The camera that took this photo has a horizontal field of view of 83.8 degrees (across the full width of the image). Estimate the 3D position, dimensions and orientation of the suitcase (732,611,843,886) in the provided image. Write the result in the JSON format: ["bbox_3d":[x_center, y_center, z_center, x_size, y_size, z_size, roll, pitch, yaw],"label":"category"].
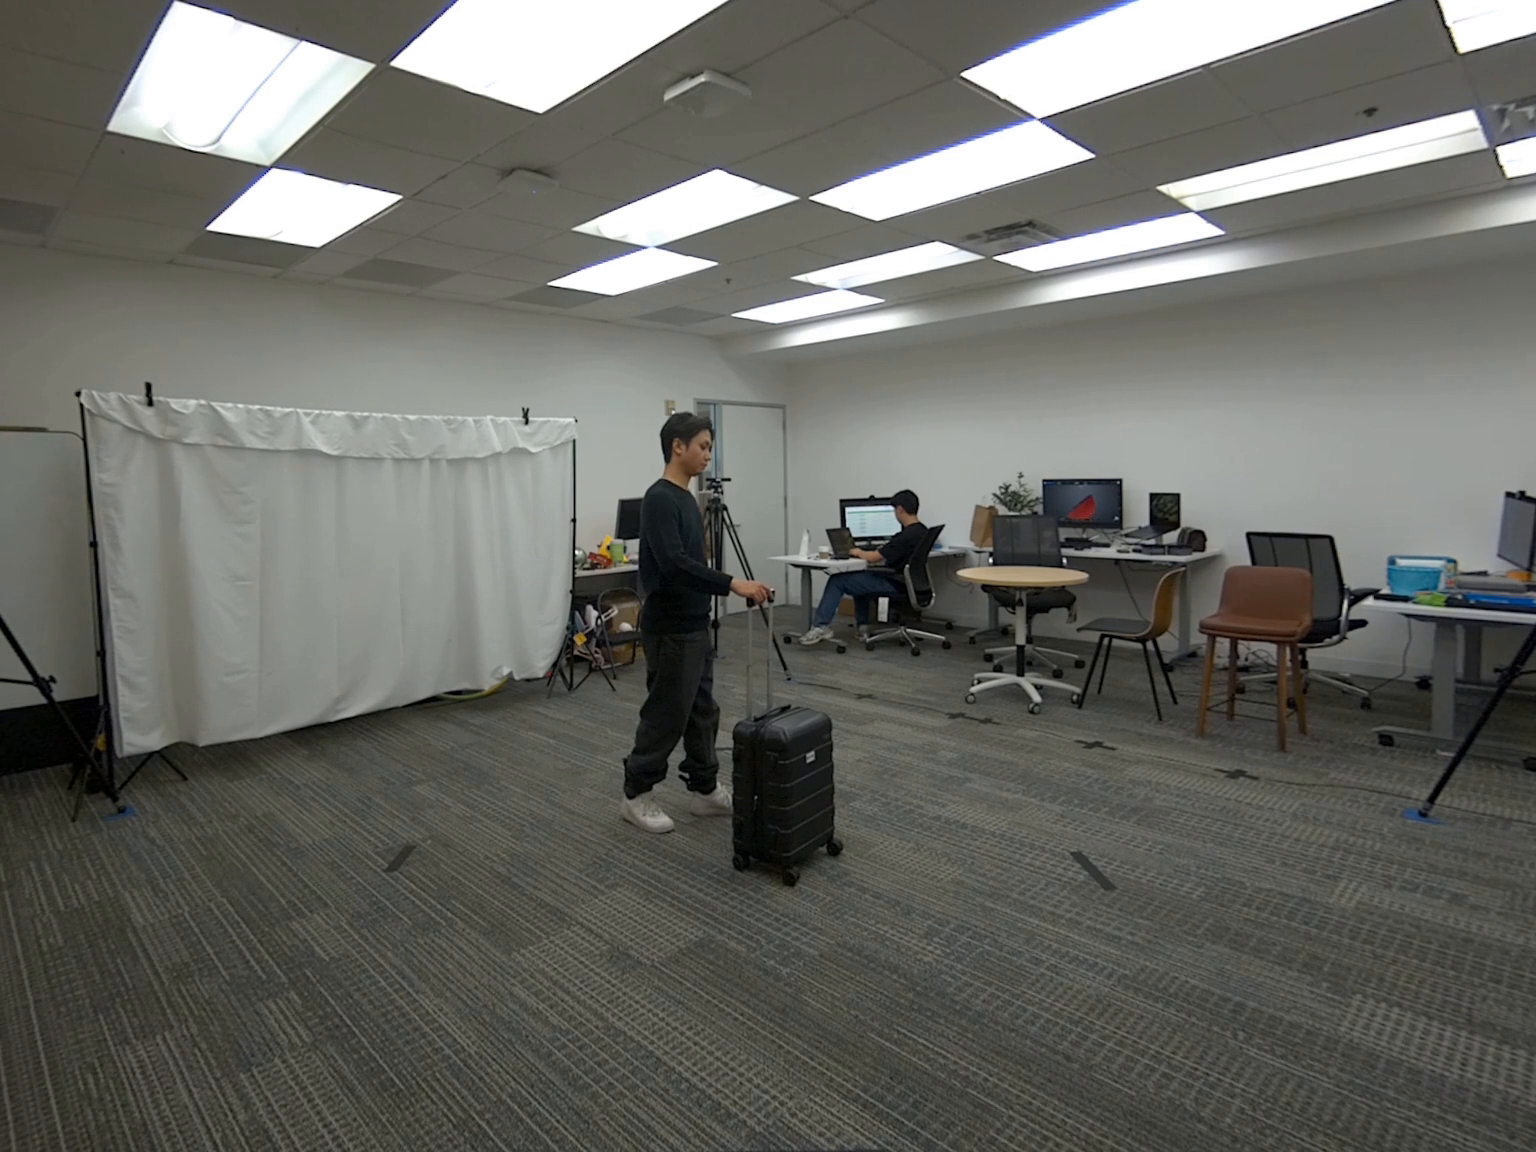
[{"bbox_3d":[0.066,0.563,3.091,0.264,0.975,0.374,3,5,36],"label":"suitcase"}]
